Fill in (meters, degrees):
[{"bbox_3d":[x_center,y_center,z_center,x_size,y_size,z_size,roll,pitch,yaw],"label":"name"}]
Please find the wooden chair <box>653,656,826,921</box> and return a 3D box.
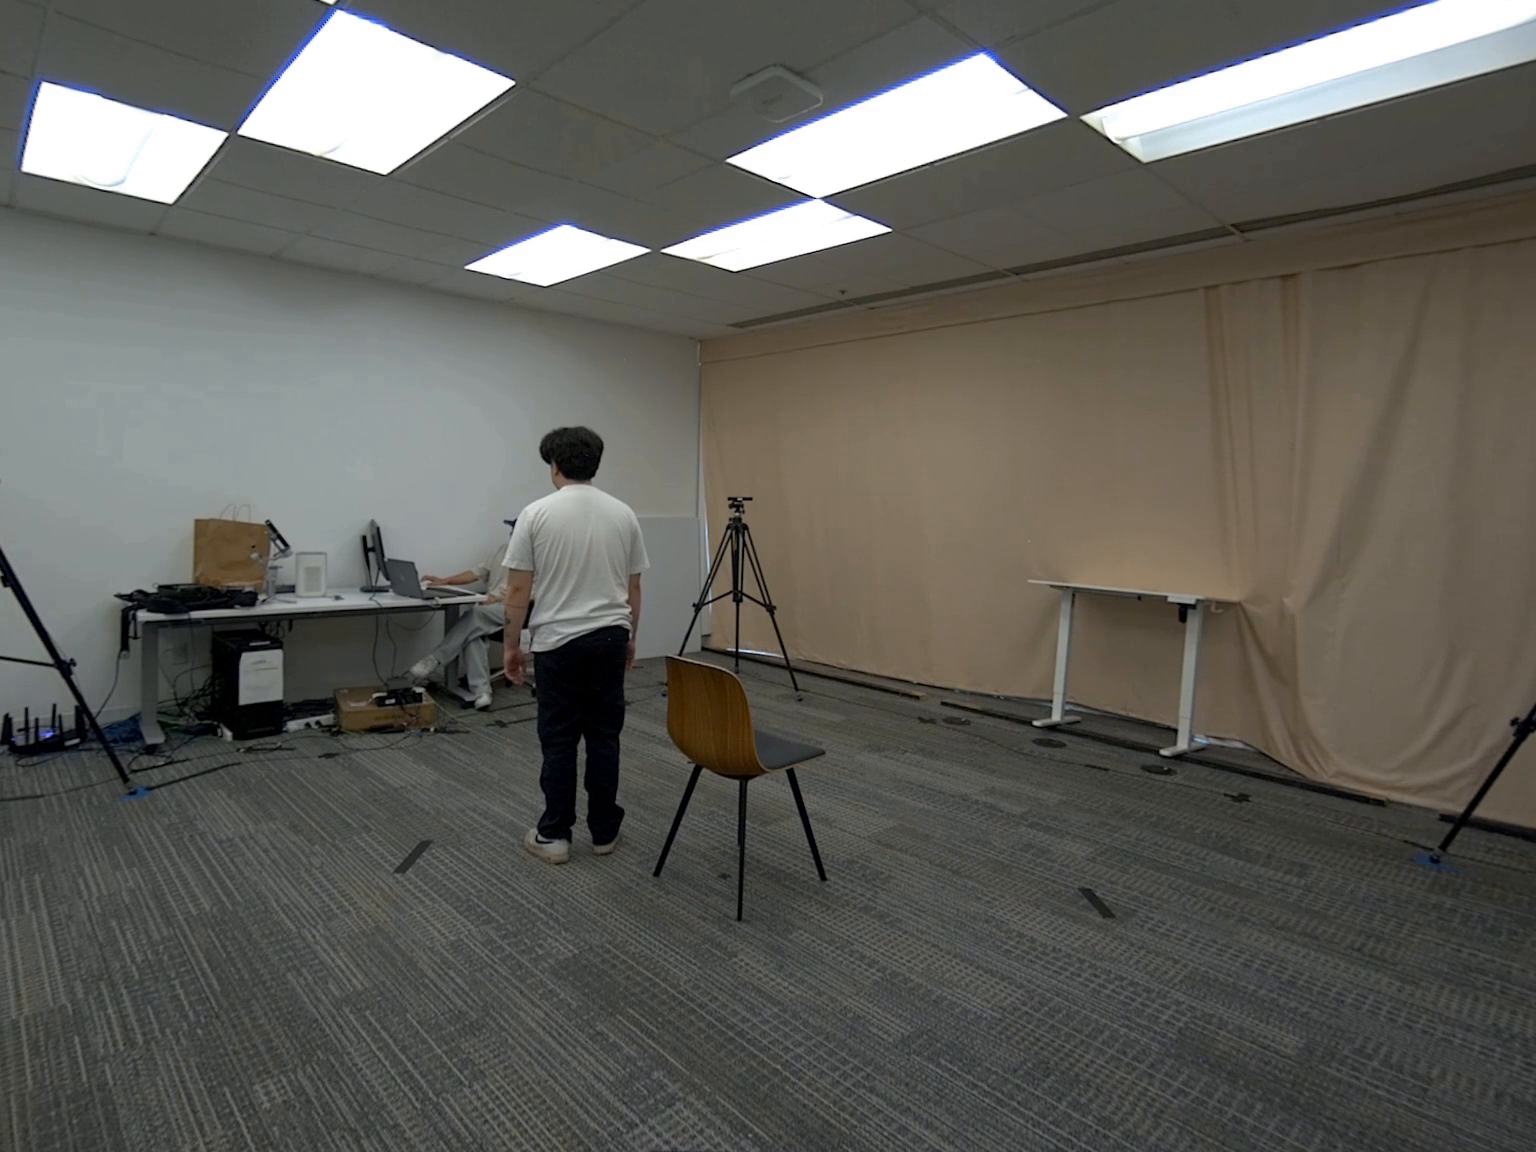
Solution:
[{"bbox_3d":[-0.088,0.687,3.061,0.490,0.873,0.512,4,8,45],"label":"wooden chair"}]
